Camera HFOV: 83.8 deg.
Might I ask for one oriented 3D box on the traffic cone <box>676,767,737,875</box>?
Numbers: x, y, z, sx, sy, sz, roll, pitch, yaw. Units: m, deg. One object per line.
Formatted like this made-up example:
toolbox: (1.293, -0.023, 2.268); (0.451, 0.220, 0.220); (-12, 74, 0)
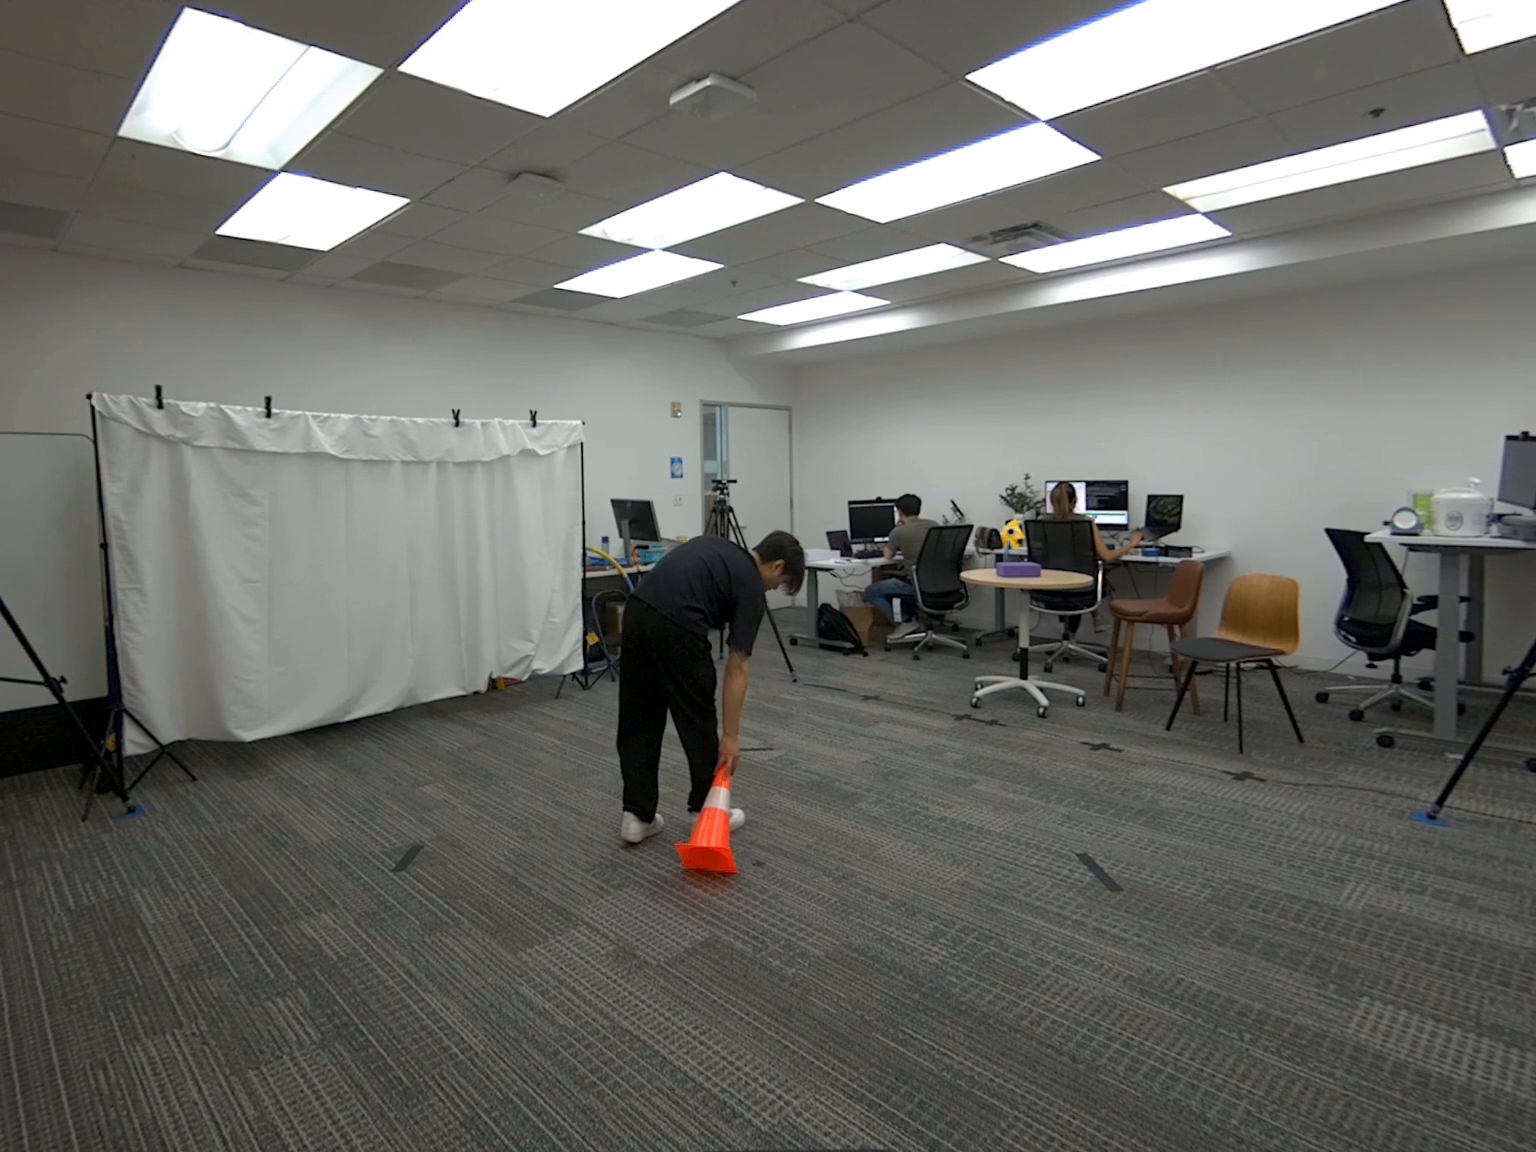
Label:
traffic cone: (-0.190, 0.853, 3.121); (0.206, 0.391, 0.198); (-3, -42, 15)
